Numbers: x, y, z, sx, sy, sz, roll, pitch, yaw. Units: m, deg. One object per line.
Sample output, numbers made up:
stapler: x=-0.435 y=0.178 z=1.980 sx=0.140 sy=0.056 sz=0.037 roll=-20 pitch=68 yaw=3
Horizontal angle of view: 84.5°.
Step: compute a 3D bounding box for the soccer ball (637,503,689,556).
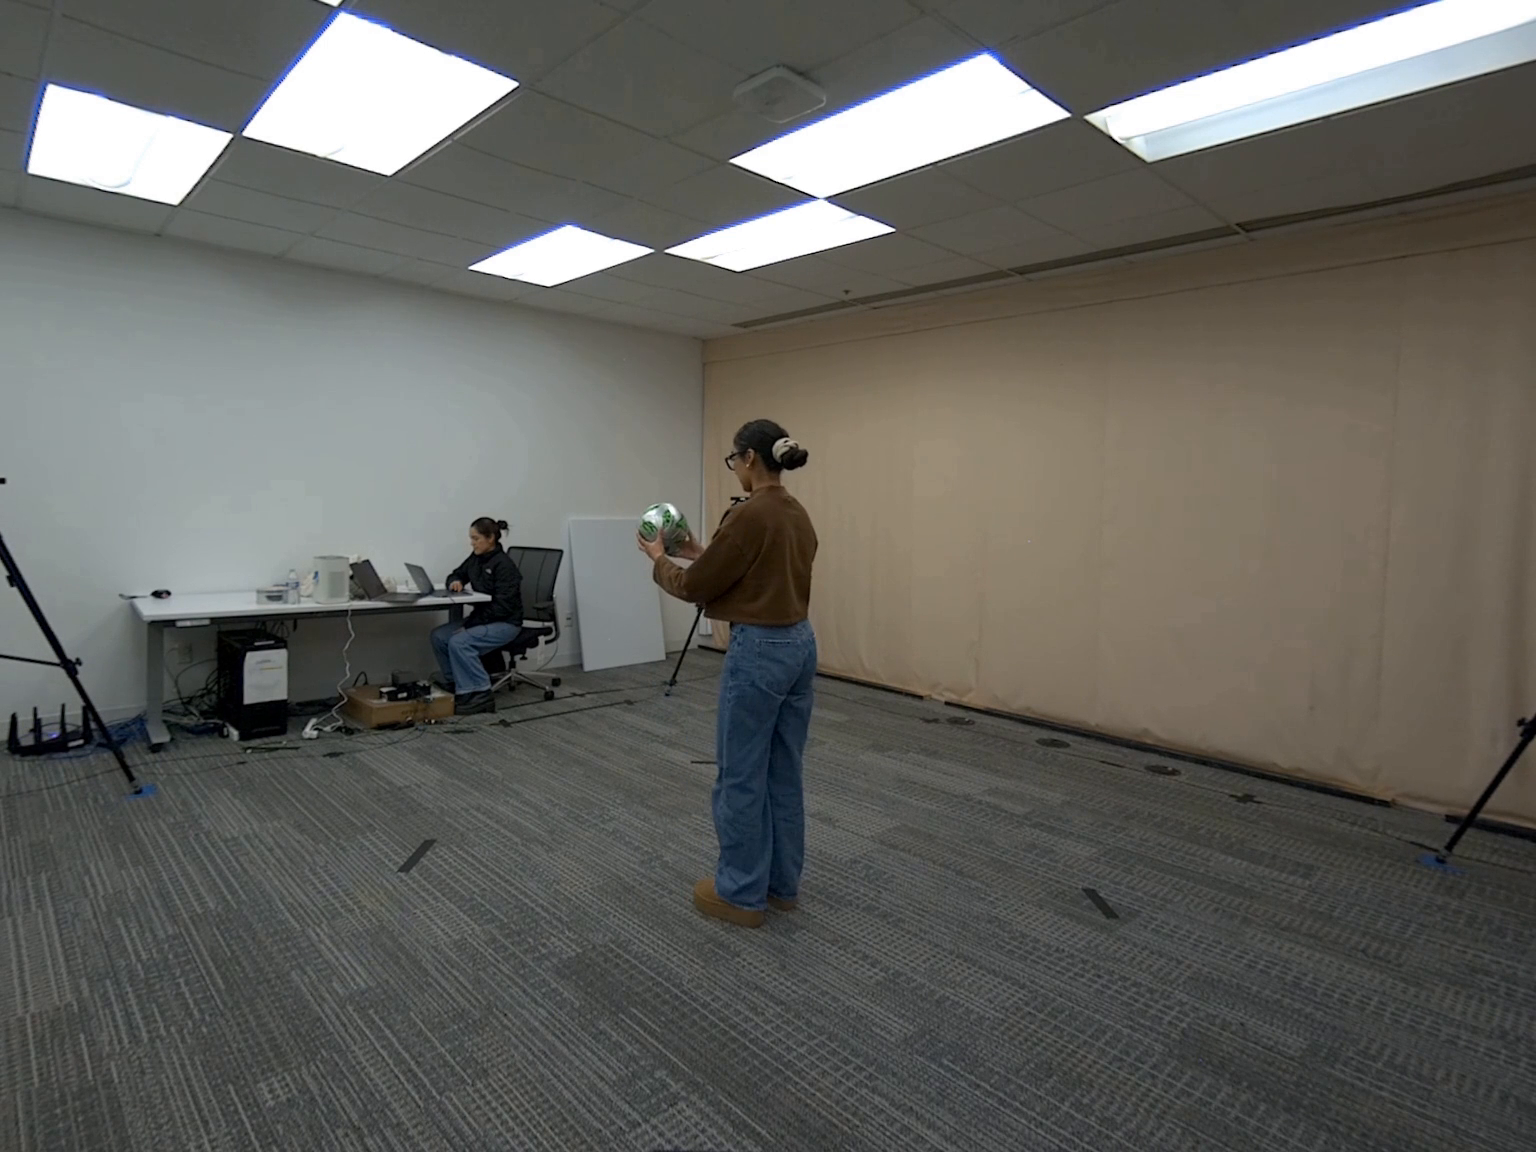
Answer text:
soccer ball: x=-0.393 y=-0.170 z=3.053 sx=0.187 sy=0.187 sz=0.188 roll=1 pitch=4 yaw=-1
